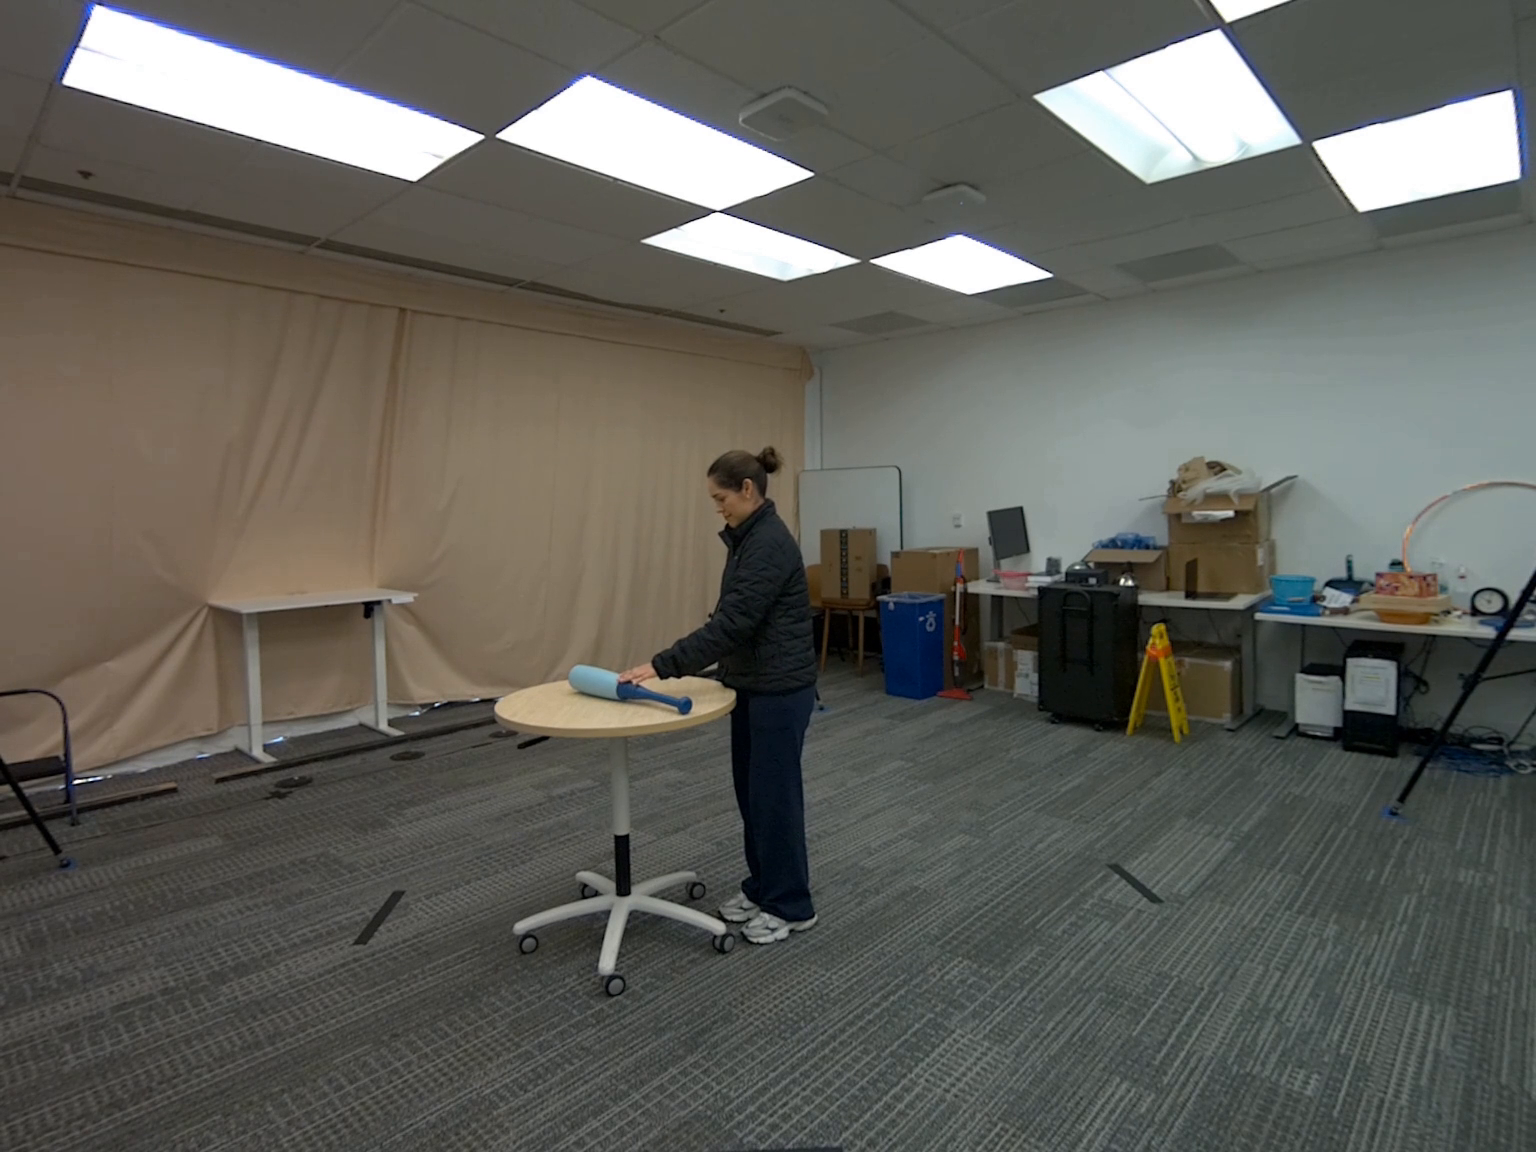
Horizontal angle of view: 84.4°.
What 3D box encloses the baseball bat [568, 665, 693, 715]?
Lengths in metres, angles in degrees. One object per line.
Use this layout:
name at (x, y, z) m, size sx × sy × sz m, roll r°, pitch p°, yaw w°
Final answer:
baseball bat at (-0.412, 0.357, 2.643) m, size 0.562 × 0.089 × 0.086 m, roll 7°, pitch 8°, yaw 43°
